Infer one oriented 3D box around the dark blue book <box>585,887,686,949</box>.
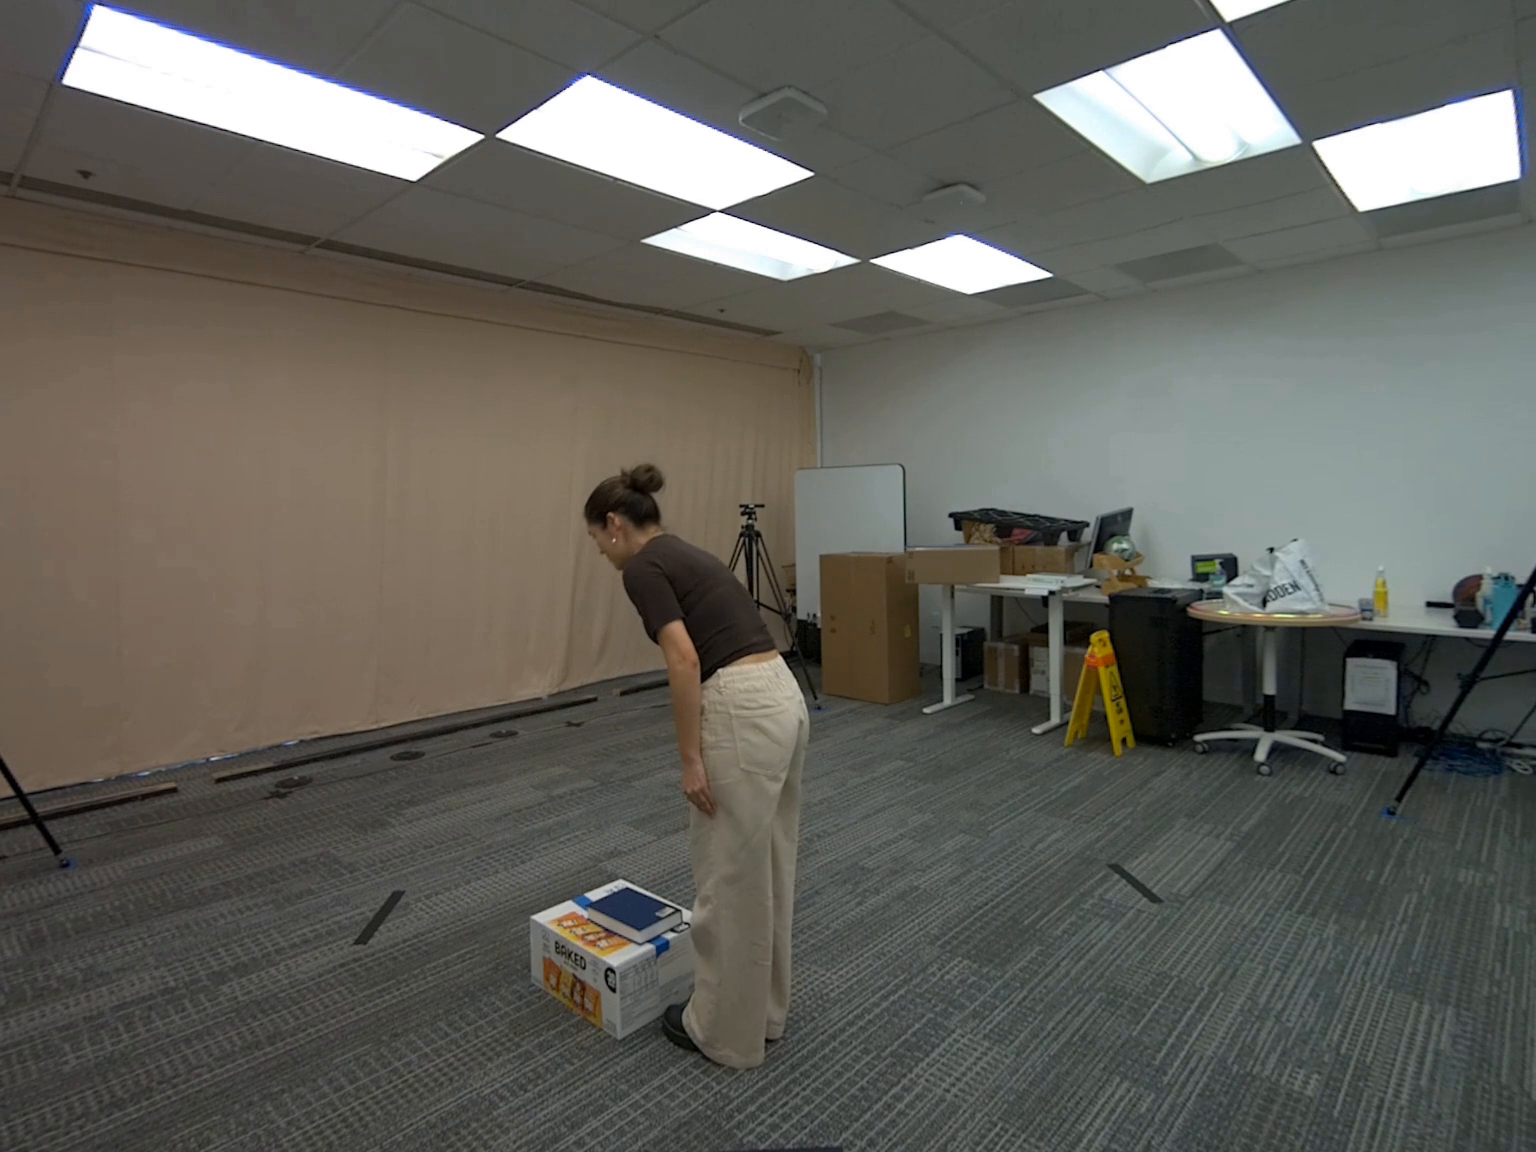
[{"bbox_3d":[-0.382,0.974,2.429,0.253,0.045,0.158,1,5,42],"label":"dark blue book"}]
